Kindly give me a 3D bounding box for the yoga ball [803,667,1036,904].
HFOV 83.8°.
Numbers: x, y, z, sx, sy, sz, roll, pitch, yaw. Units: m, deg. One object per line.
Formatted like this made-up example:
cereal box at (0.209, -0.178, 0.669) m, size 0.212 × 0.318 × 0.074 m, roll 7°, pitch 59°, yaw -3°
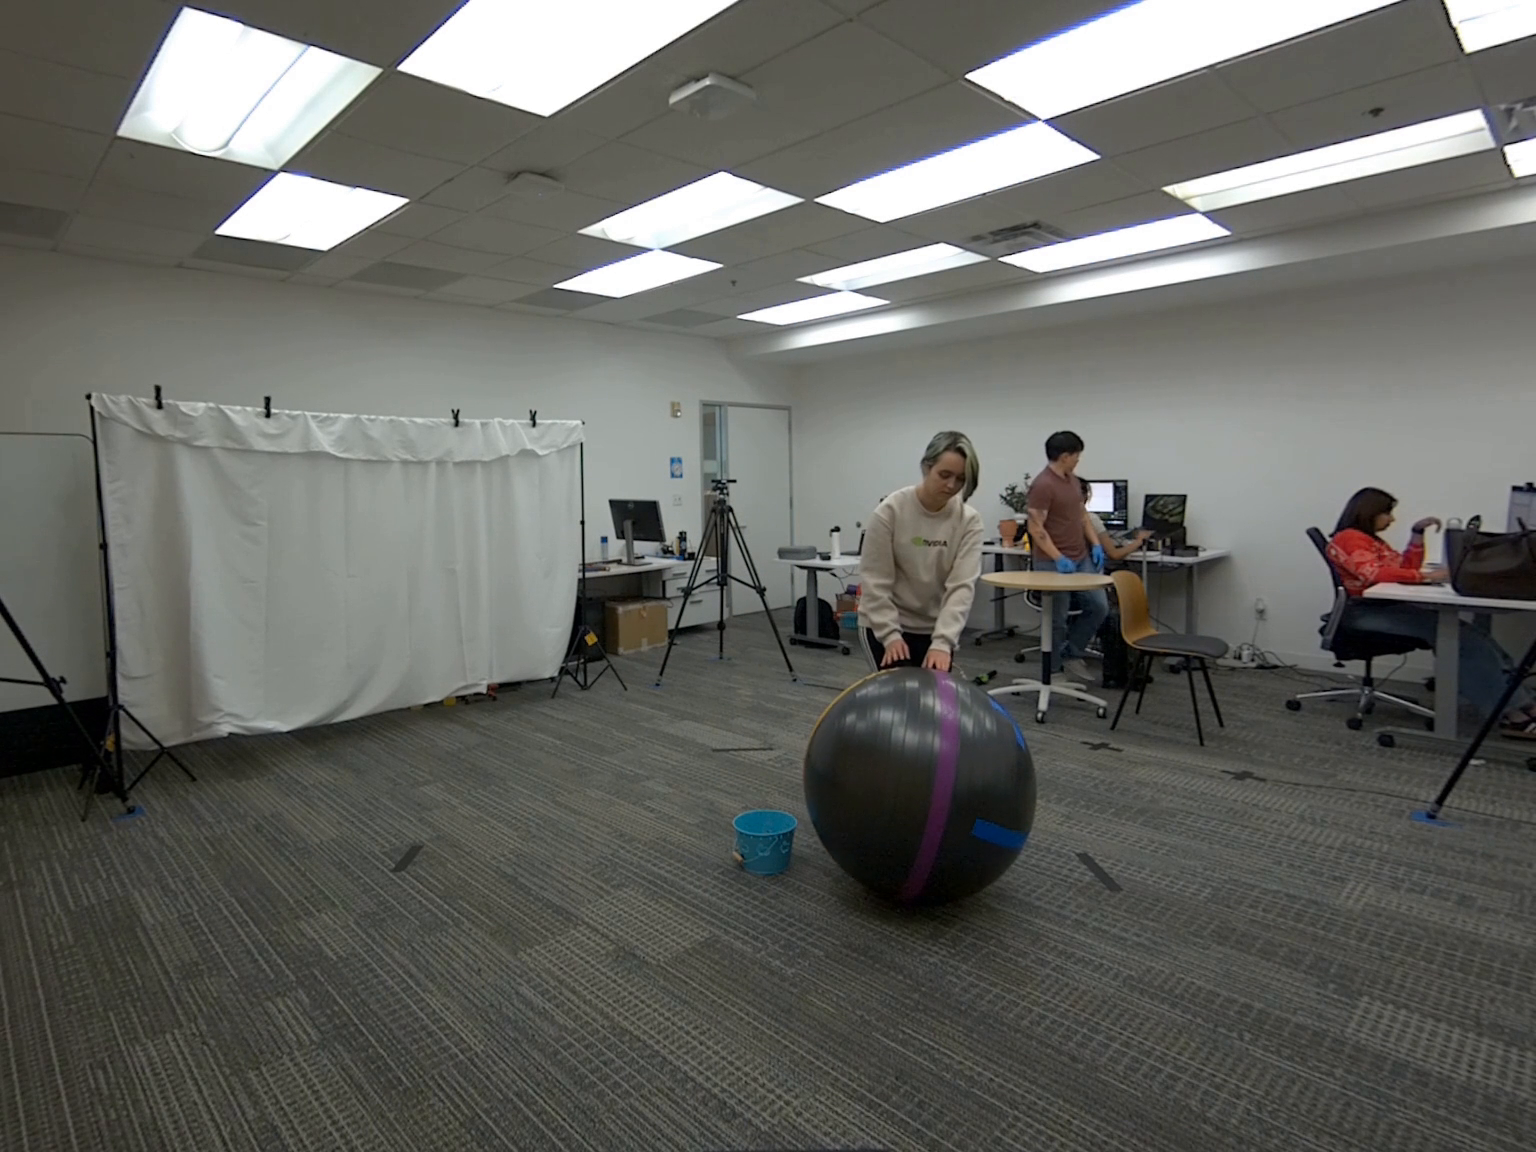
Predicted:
yoga ball at (0.503, 0.698, 2.859) m, size 0.757 × 0.755 × 0.762 m, roll -1°, pitch 5°, yaw -2°
